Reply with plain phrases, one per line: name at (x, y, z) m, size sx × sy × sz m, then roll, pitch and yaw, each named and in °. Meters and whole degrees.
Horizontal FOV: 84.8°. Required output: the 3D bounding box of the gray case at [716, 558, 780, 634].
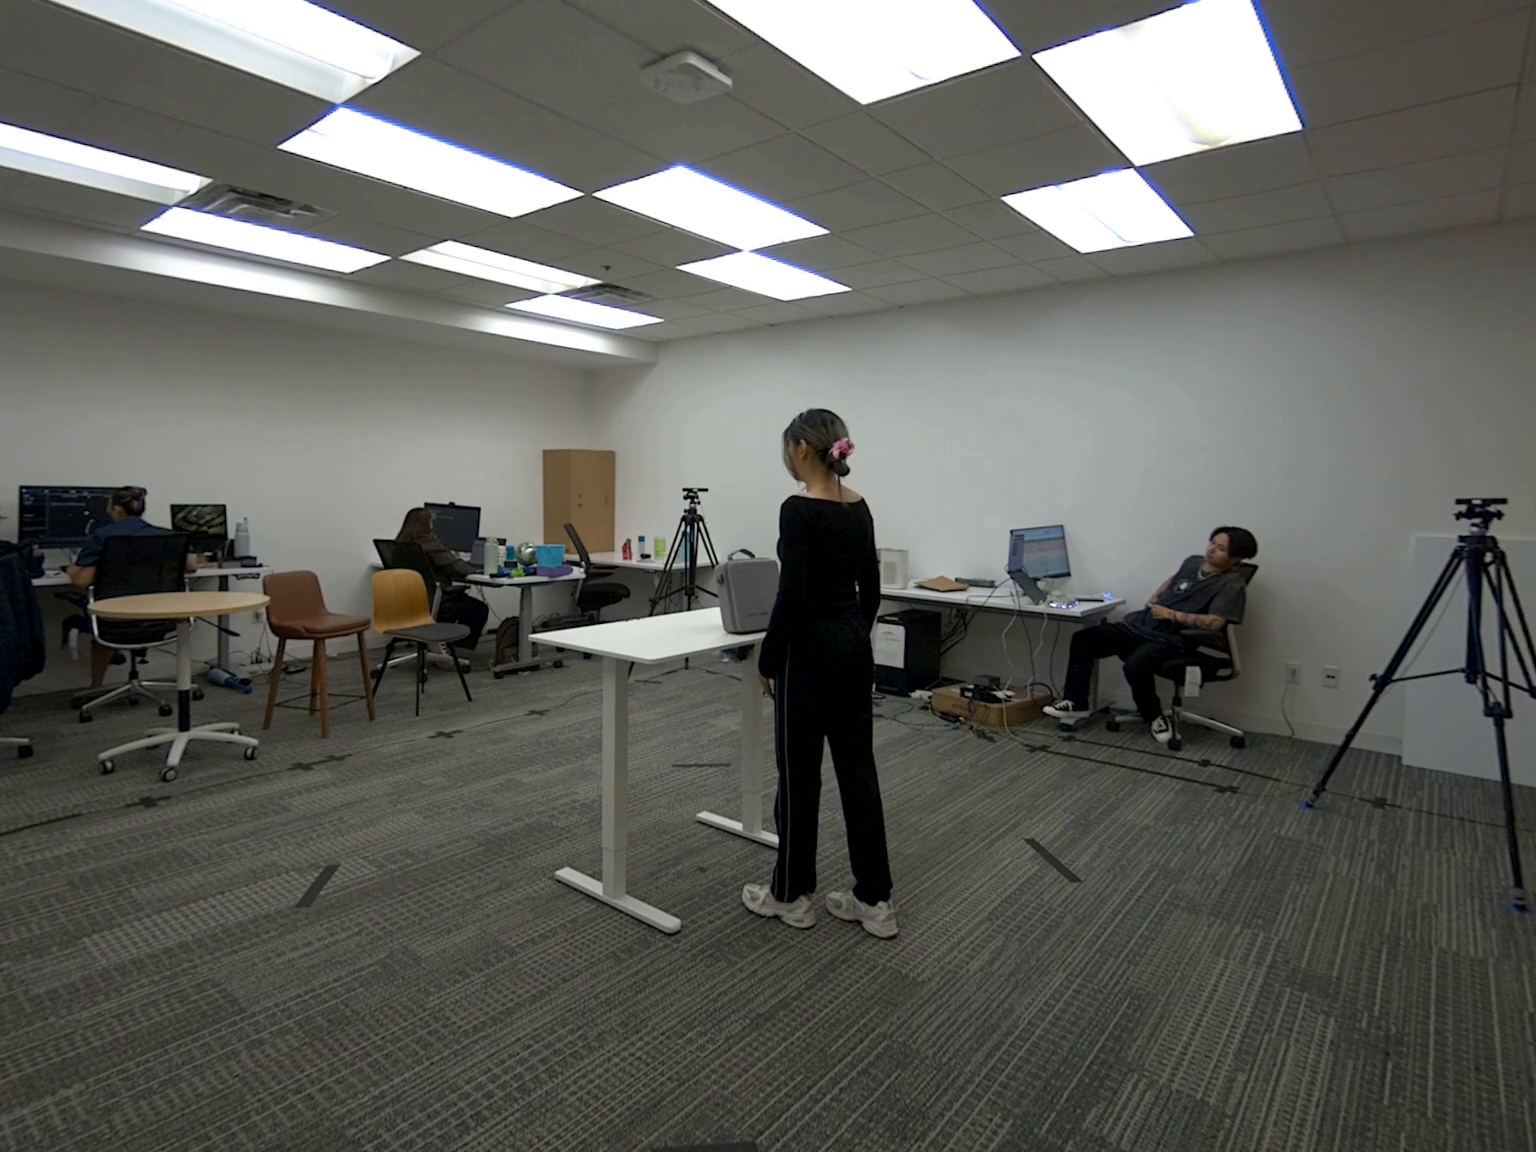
gray case at (-0.069, 0.062, 3.051) m, size 0.249 × 0.263 × 0.107 m, roll -3°, pitch -8°, yaw -41°
